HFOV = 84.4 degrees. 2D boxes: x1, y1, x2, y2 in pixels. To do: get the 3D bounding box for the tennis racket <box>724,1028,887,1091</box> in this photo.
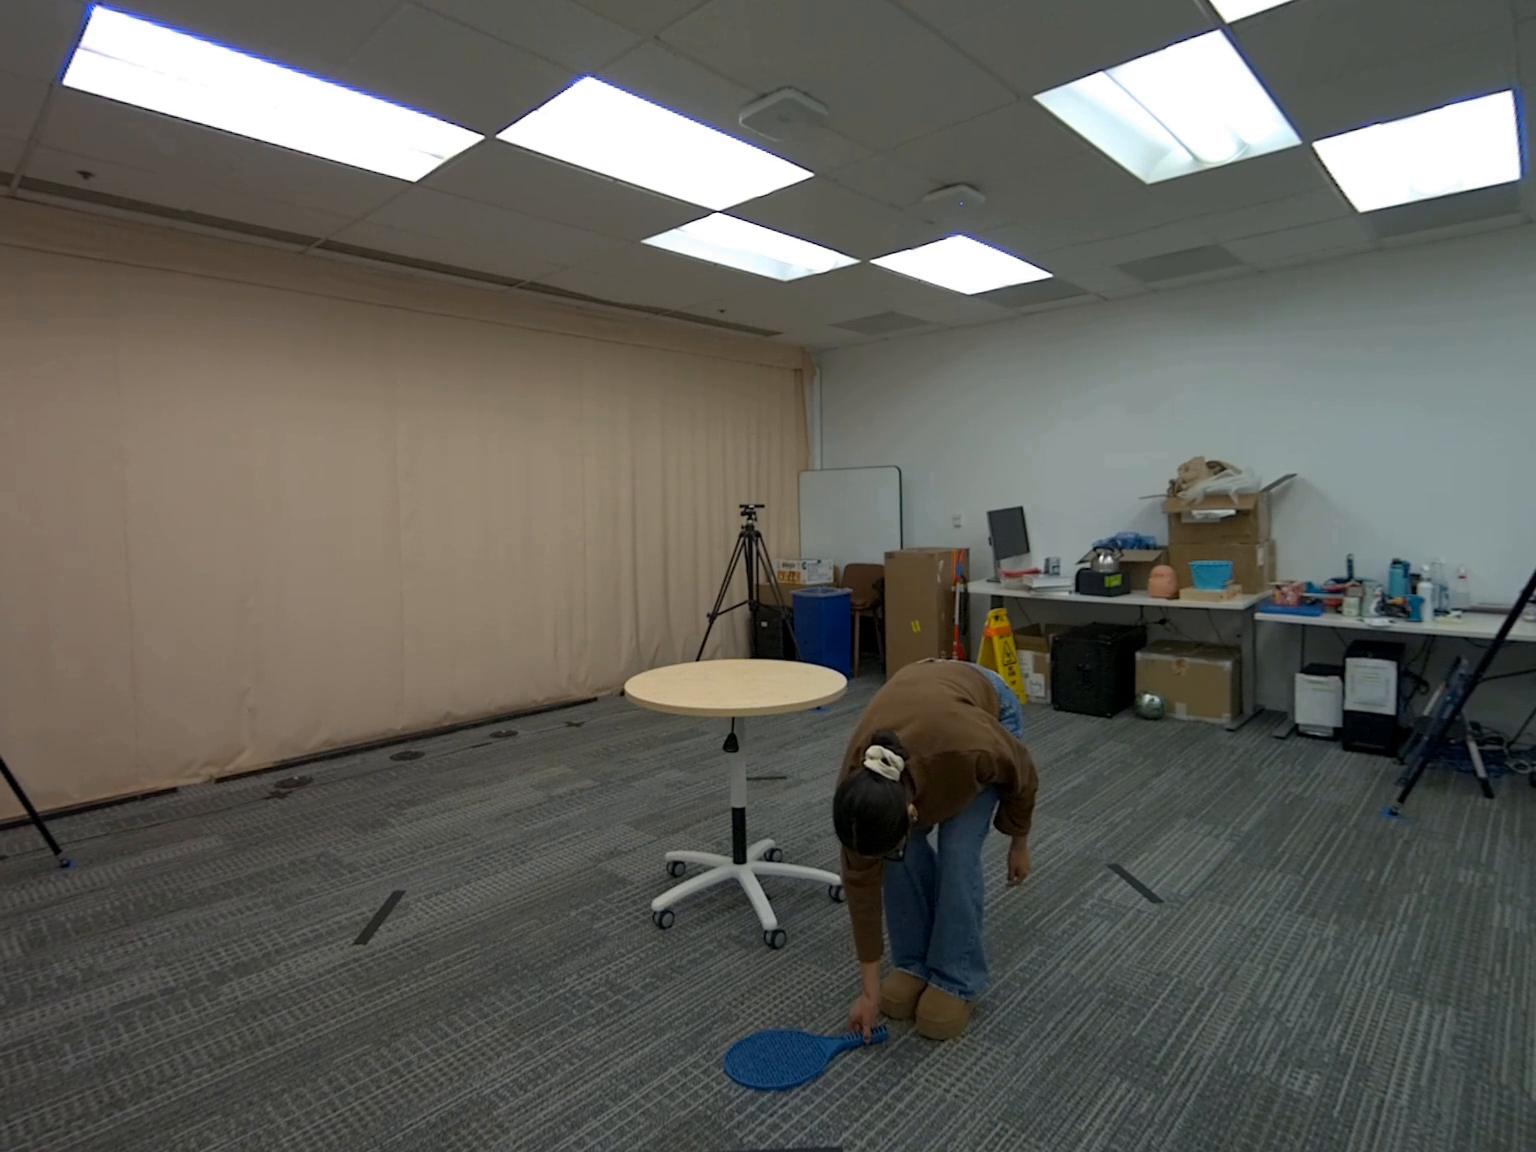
[{"bbox_3d":[0.105,1.200,2.111,0.427,0.031,0.217,-5,5,-14],"label":"tennis racket"}]
